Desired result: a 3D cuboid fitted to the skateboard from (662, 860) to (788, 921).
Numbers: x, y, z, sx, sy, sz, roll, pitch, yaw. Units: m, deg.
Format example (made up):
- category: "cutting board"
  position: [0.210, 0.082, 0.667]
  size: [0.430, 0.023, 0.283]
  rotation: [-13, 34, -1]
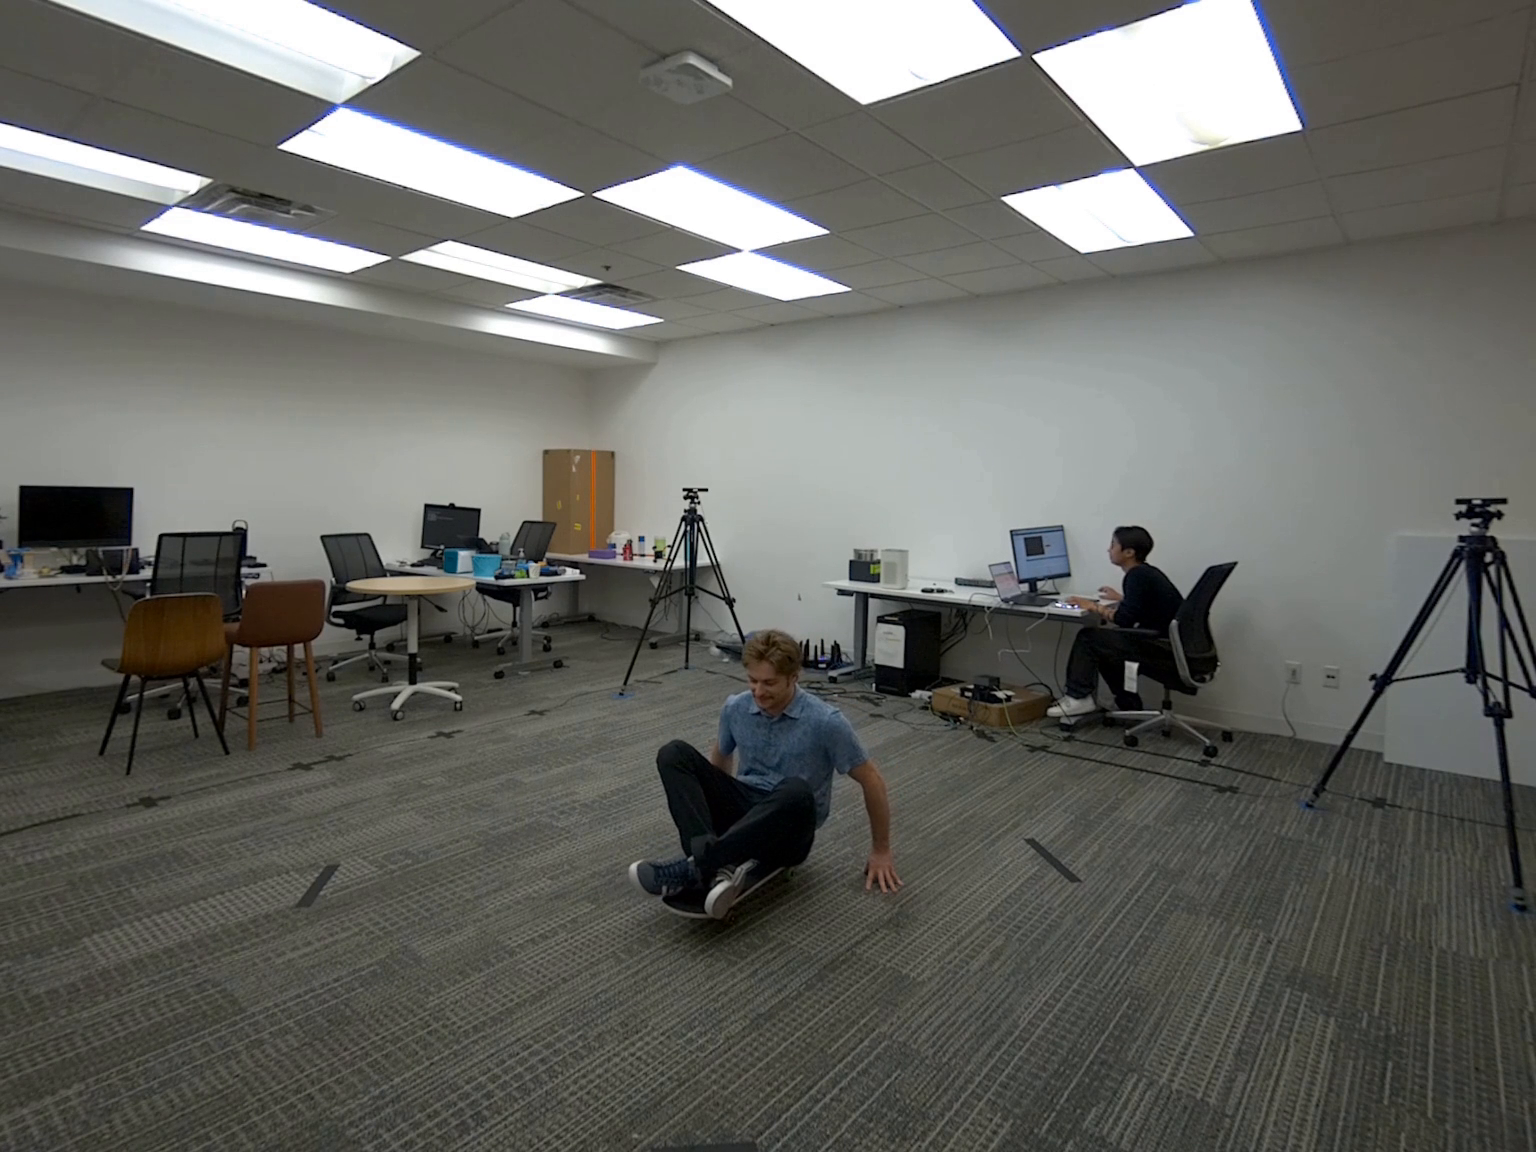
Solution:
- category: "skateboard"
  position: [-0.085, 1.039, 2.900]
  size: [0.199, 0.110, 0.766]
  rotation: [8, 7, 26]
